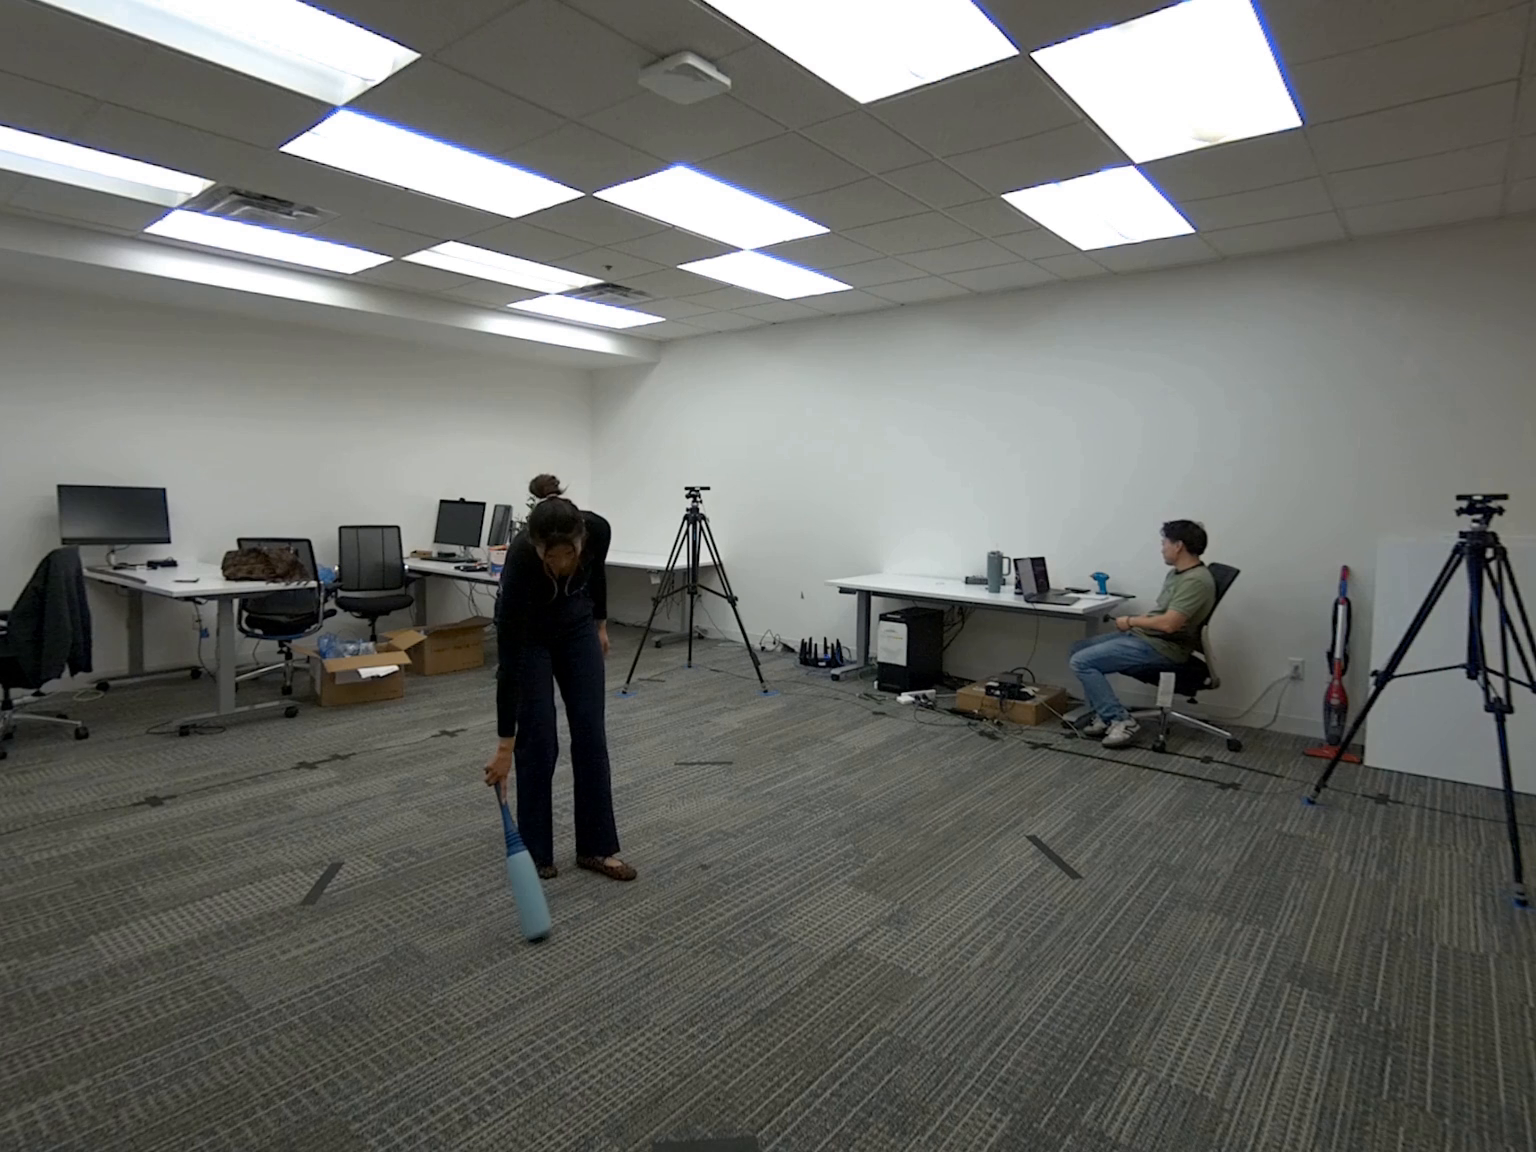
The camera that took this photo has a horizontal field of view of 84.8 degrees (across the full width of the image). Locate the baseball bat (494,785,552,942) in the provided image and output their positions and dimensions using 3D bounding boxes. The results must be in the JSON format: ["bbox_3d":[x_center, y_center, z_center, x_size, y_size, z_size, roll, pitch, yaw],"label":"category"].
[{"bbox_3d":[-0.802,0.861,2.697,0.088,0.557,0.087,-20,-21,-9],"label":"baseball bat"}]
